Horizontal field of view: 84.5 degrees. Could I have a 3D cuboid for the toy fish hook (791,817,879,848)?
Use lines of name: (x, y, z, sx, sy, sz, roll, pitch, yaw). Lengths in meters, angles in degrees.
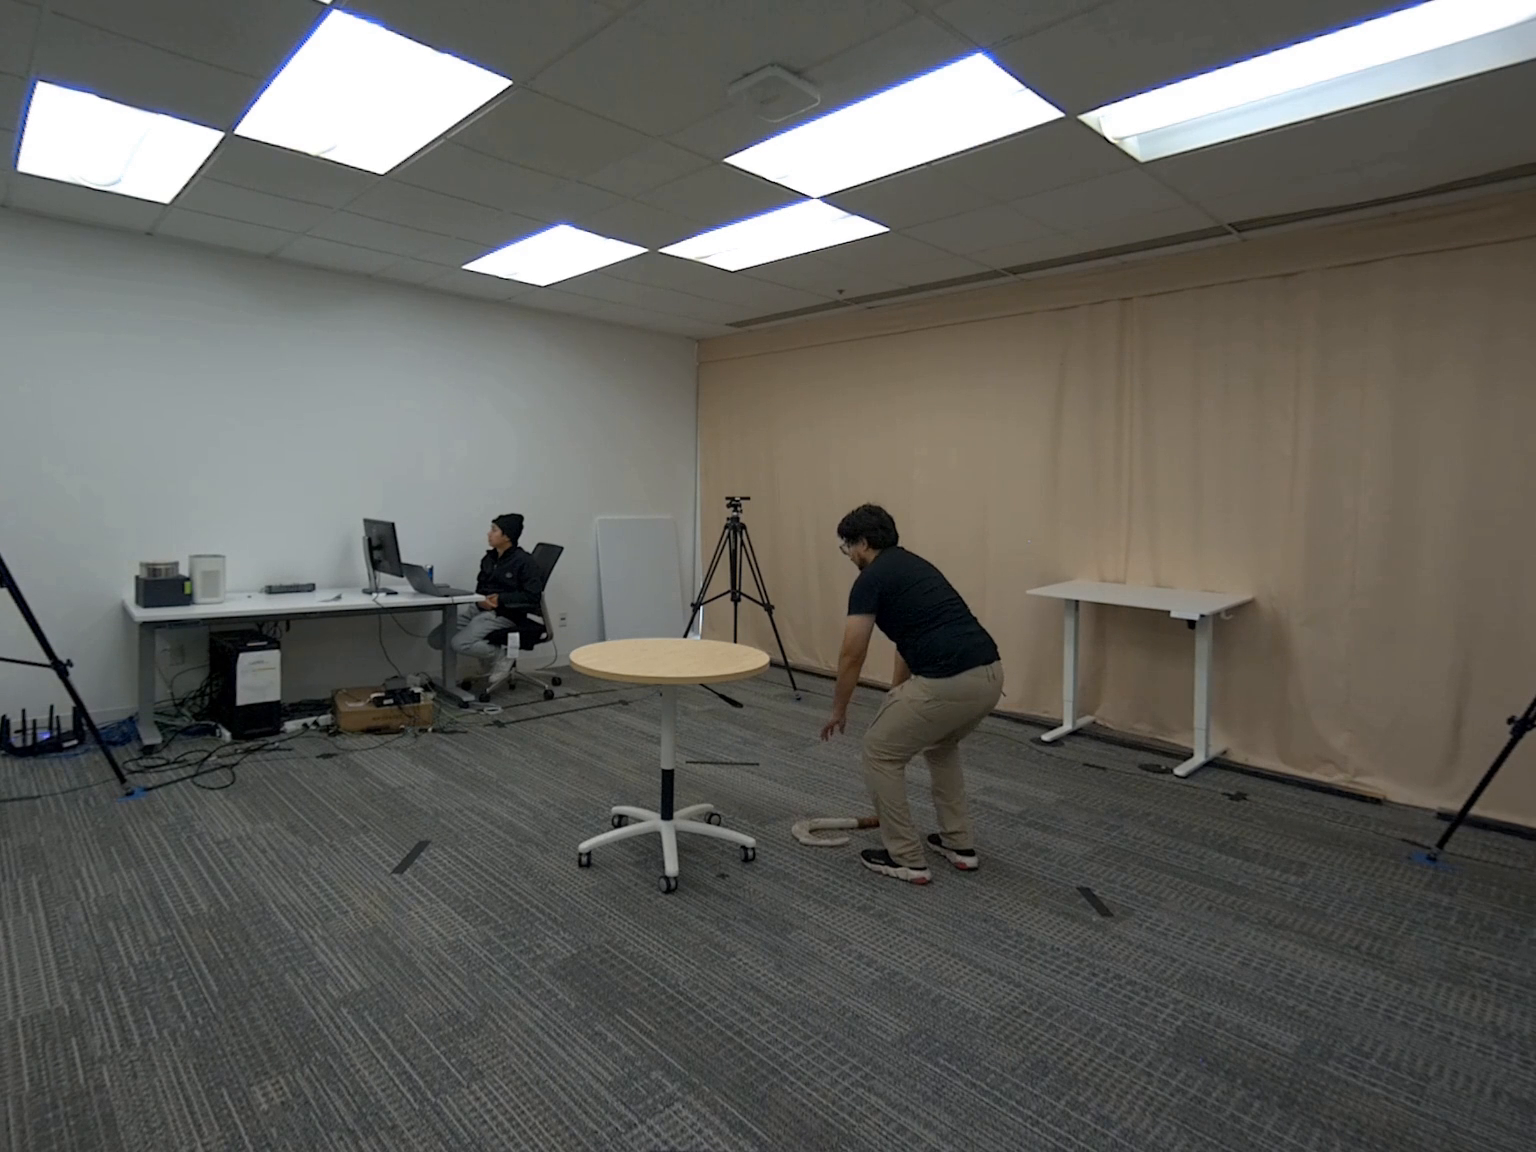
toy fish hook: (0.339, 1.065, 3.532, 0.498, 0.048, 0.230, -1, 12, -21)
